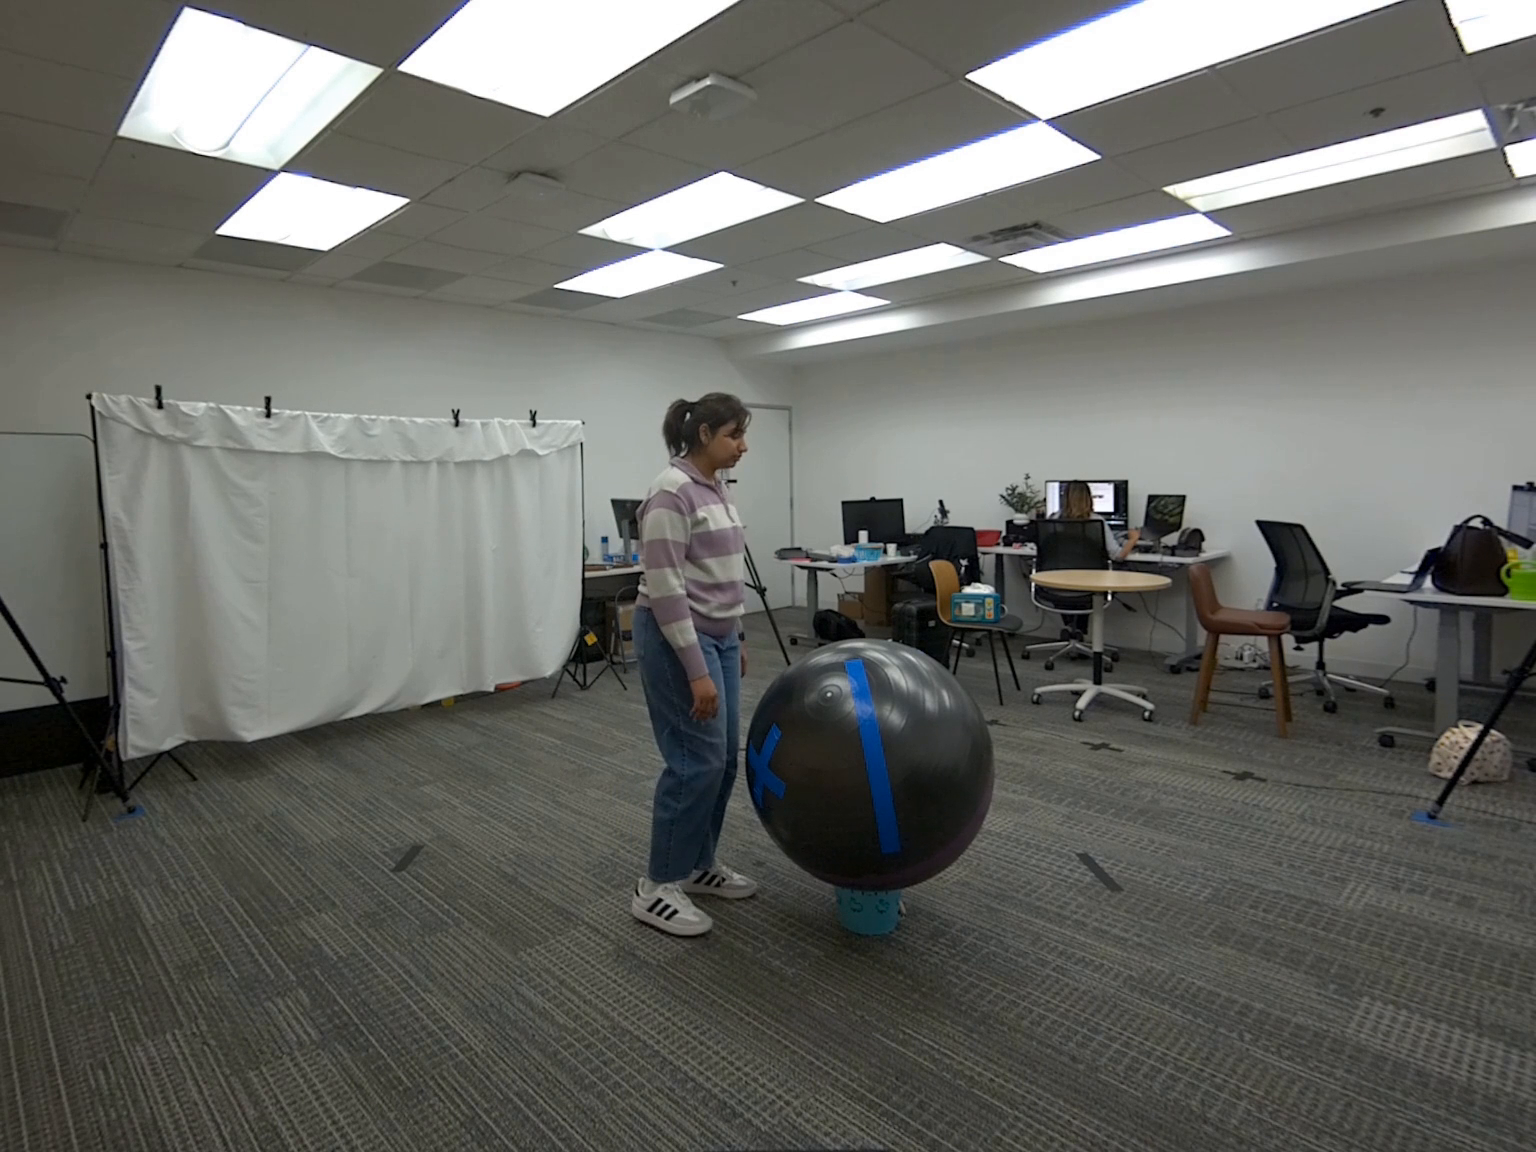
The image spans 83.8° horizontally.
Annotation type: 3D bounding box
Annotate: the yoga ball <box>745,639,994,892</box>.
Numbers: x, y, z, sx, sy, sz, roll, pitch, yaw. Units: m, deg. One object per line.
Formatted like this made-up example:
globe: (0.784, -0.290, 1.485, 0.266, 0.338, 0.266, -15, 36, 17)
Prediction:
yoga ball: (0.315, 0.584, 2.646, 0.757, 0.755, 0.762, -1, 5, -2)
